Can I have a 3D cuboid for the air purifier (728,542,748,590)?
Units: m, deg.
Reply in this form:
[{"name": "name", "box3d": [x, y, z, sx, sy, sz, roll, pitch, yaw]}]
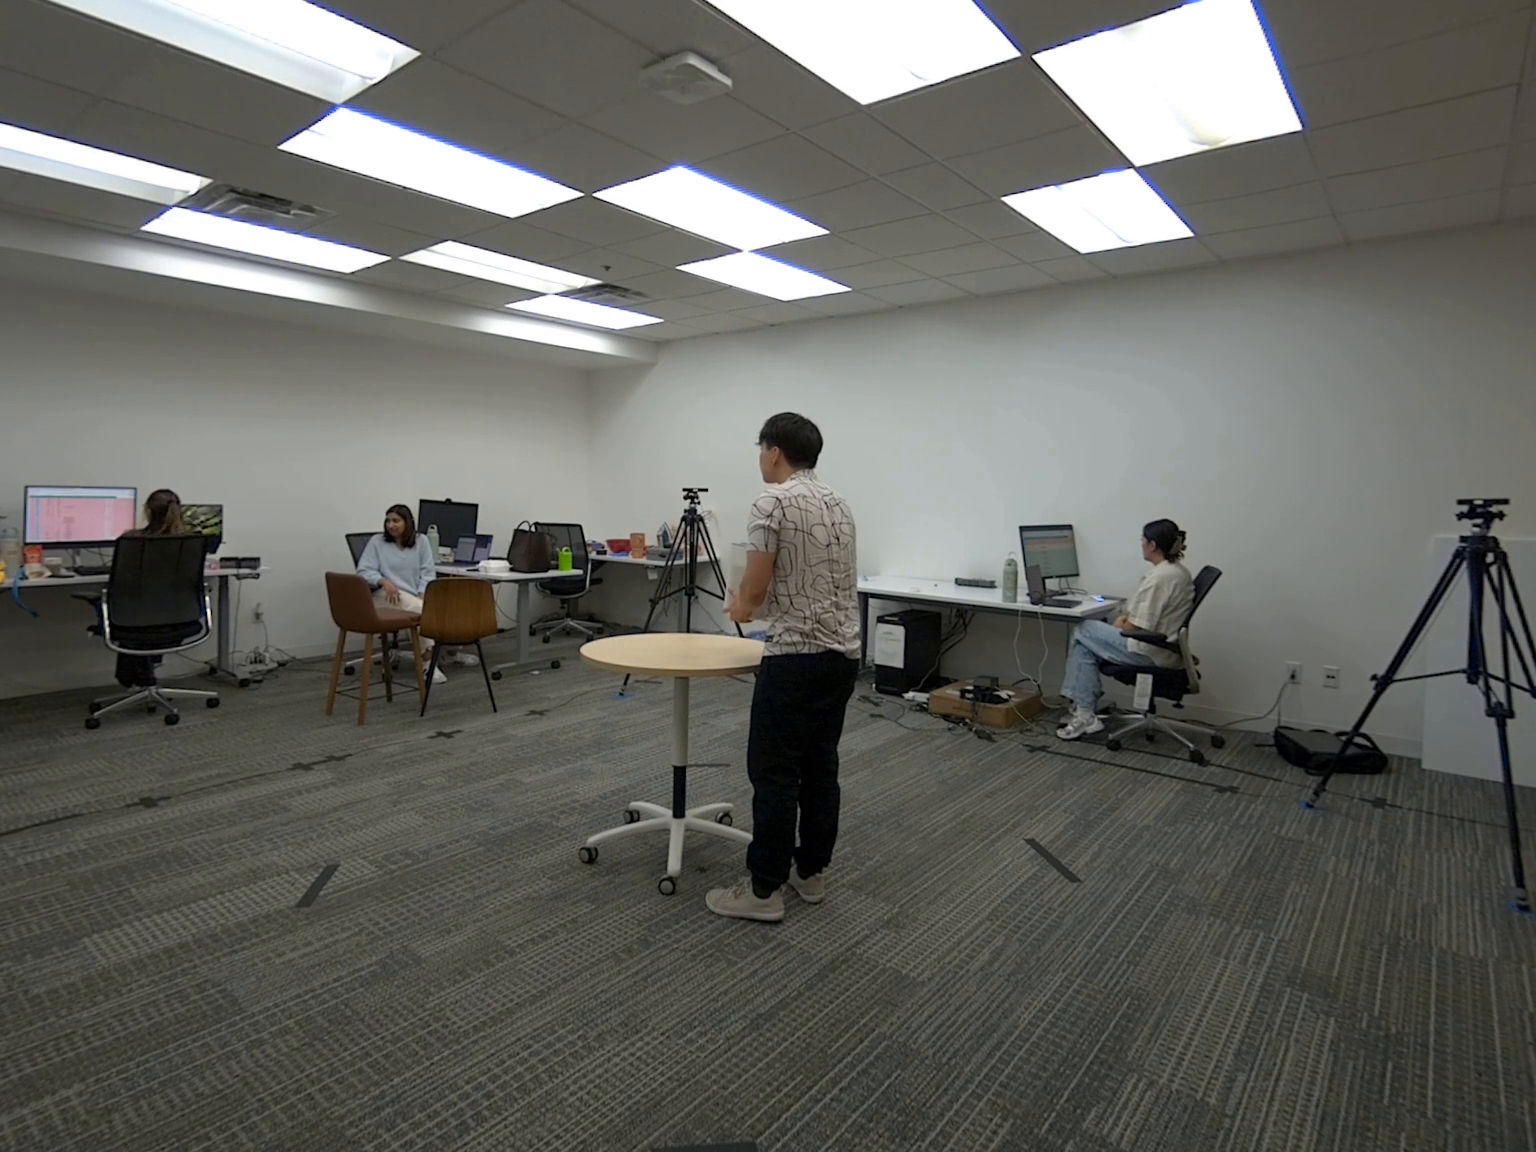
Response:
[{"name": "air purifier", "box3d": [-0.051, 0.019, 3.114, 0.178, 0.264, 0.165, 11, 5, 39]}]
